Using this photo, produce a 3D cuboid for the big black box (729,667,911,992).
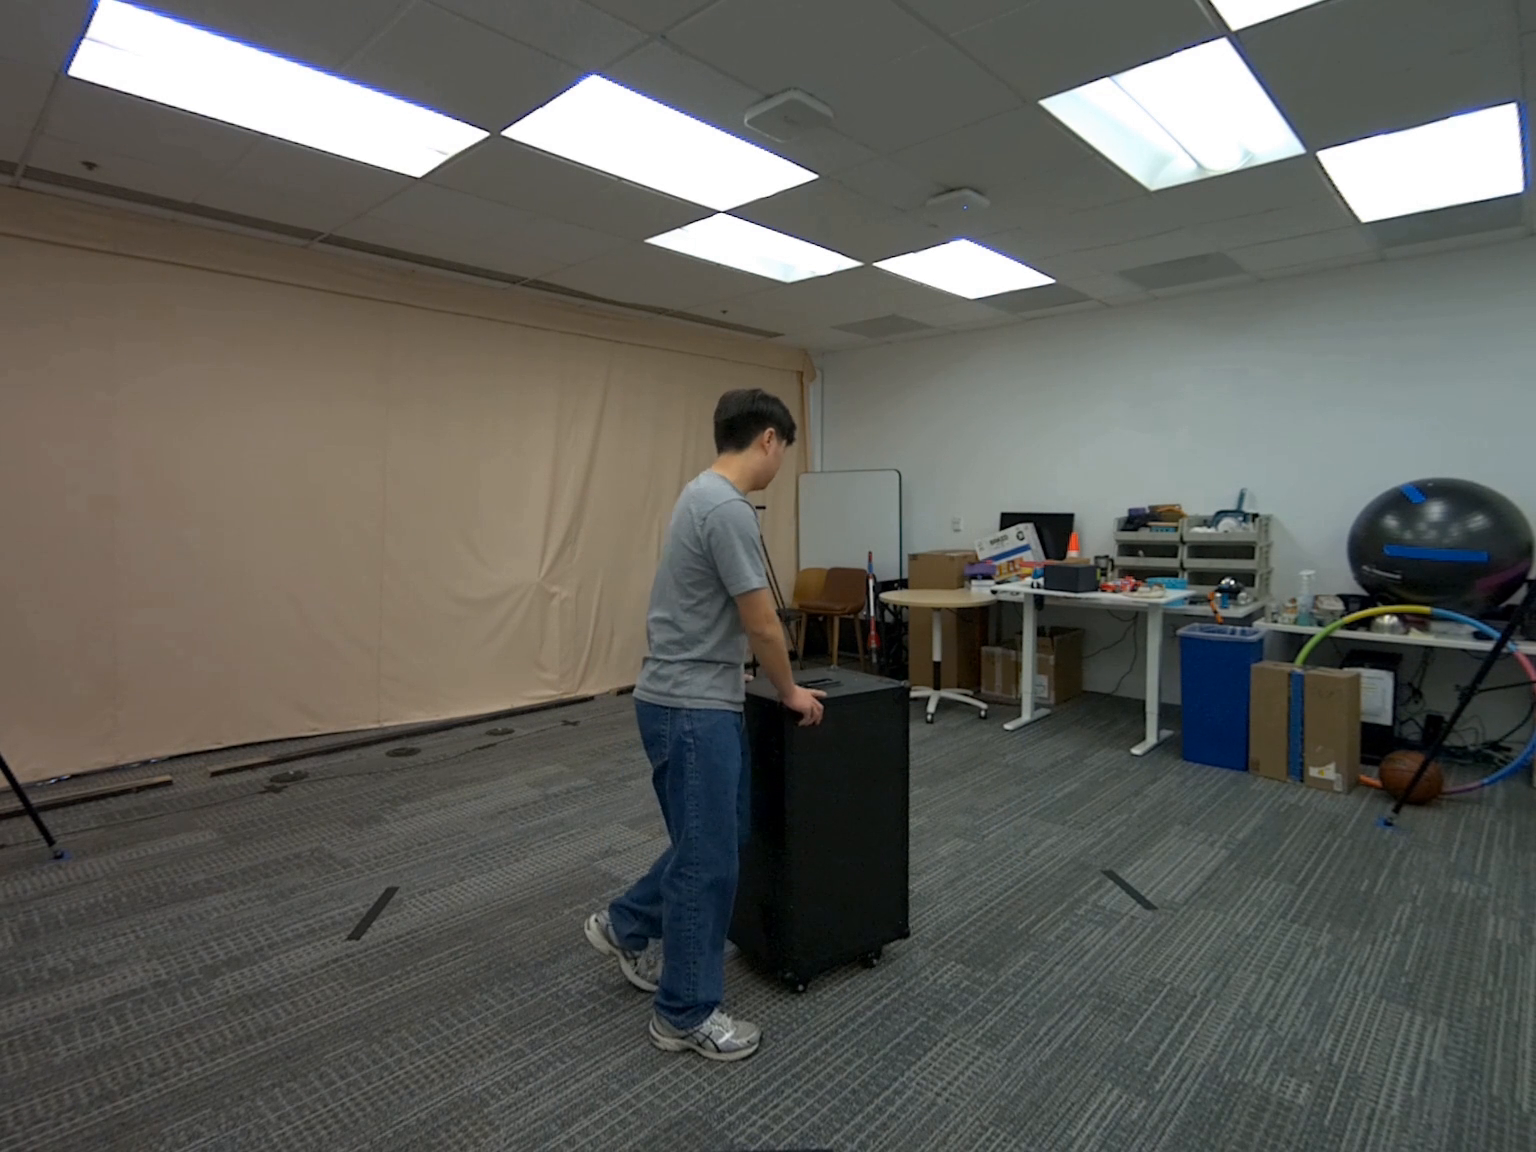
[{"bbox_3d":[0.132,0.754,2.593,0.506,0.860,0.408,-2,3,-34],"label":"big black box"}]
